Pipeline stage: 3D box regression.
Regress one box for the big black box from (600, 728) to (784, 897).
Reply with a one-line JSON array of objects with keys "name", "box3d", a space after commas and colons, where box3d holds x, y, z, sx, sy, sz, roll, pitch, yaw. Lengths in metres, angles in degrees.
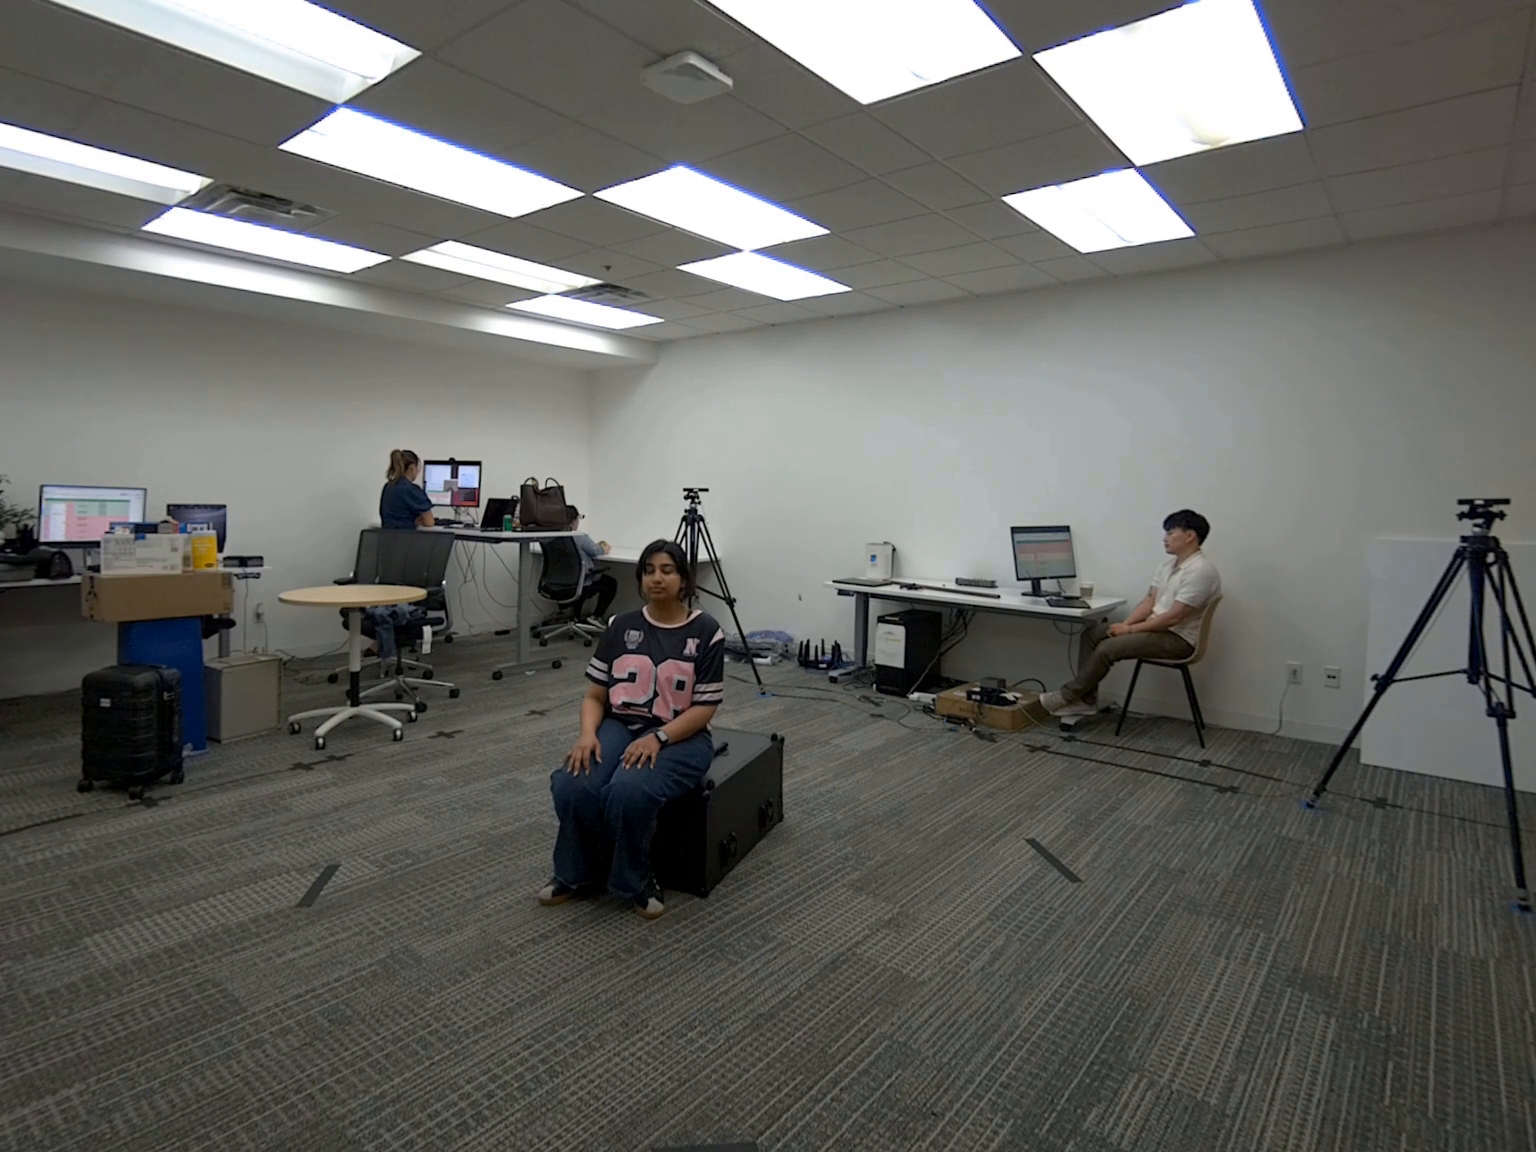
[{"name": "big black box", "box3d": [-0.297, 0.859, 3.362, 0.535, 0.384, 0.852, 1, 5, 21]}]
